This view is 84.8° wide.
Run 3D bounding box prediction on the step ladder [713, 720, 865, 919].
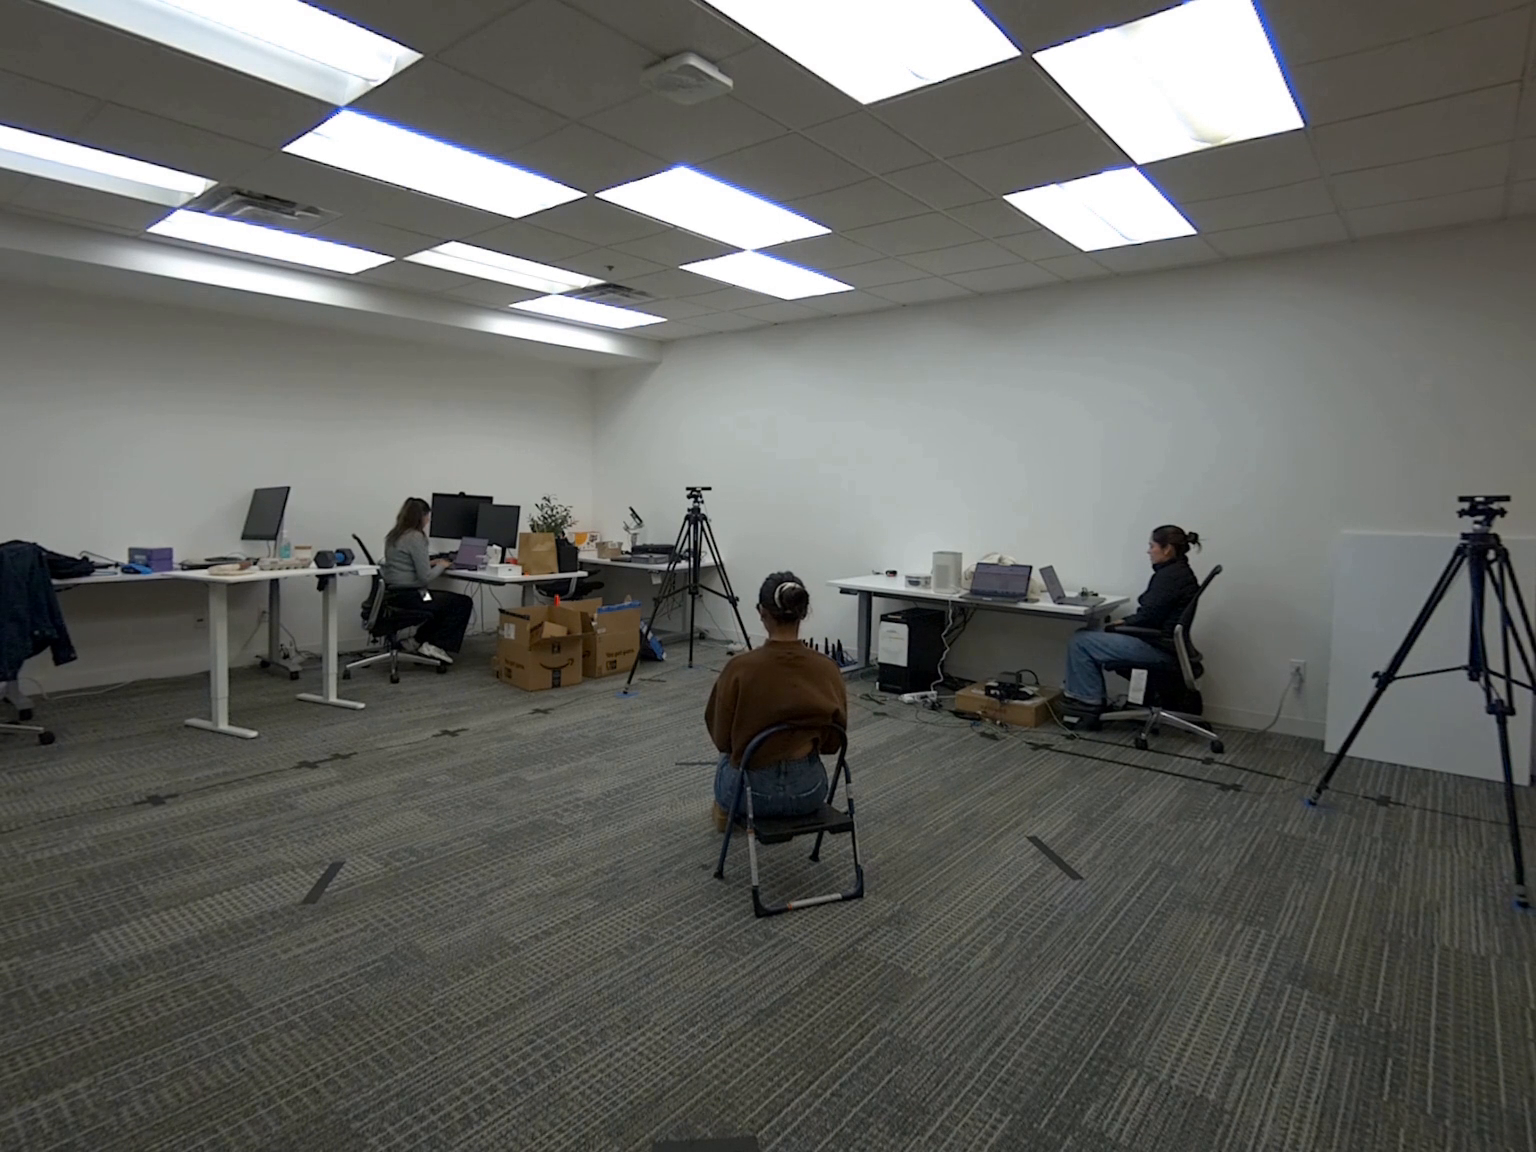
[{"bbox_3d":[0.068,0.788,2.968,0.420,0.604,0.359,-1,4,-26],"label":"step ladder"}]
